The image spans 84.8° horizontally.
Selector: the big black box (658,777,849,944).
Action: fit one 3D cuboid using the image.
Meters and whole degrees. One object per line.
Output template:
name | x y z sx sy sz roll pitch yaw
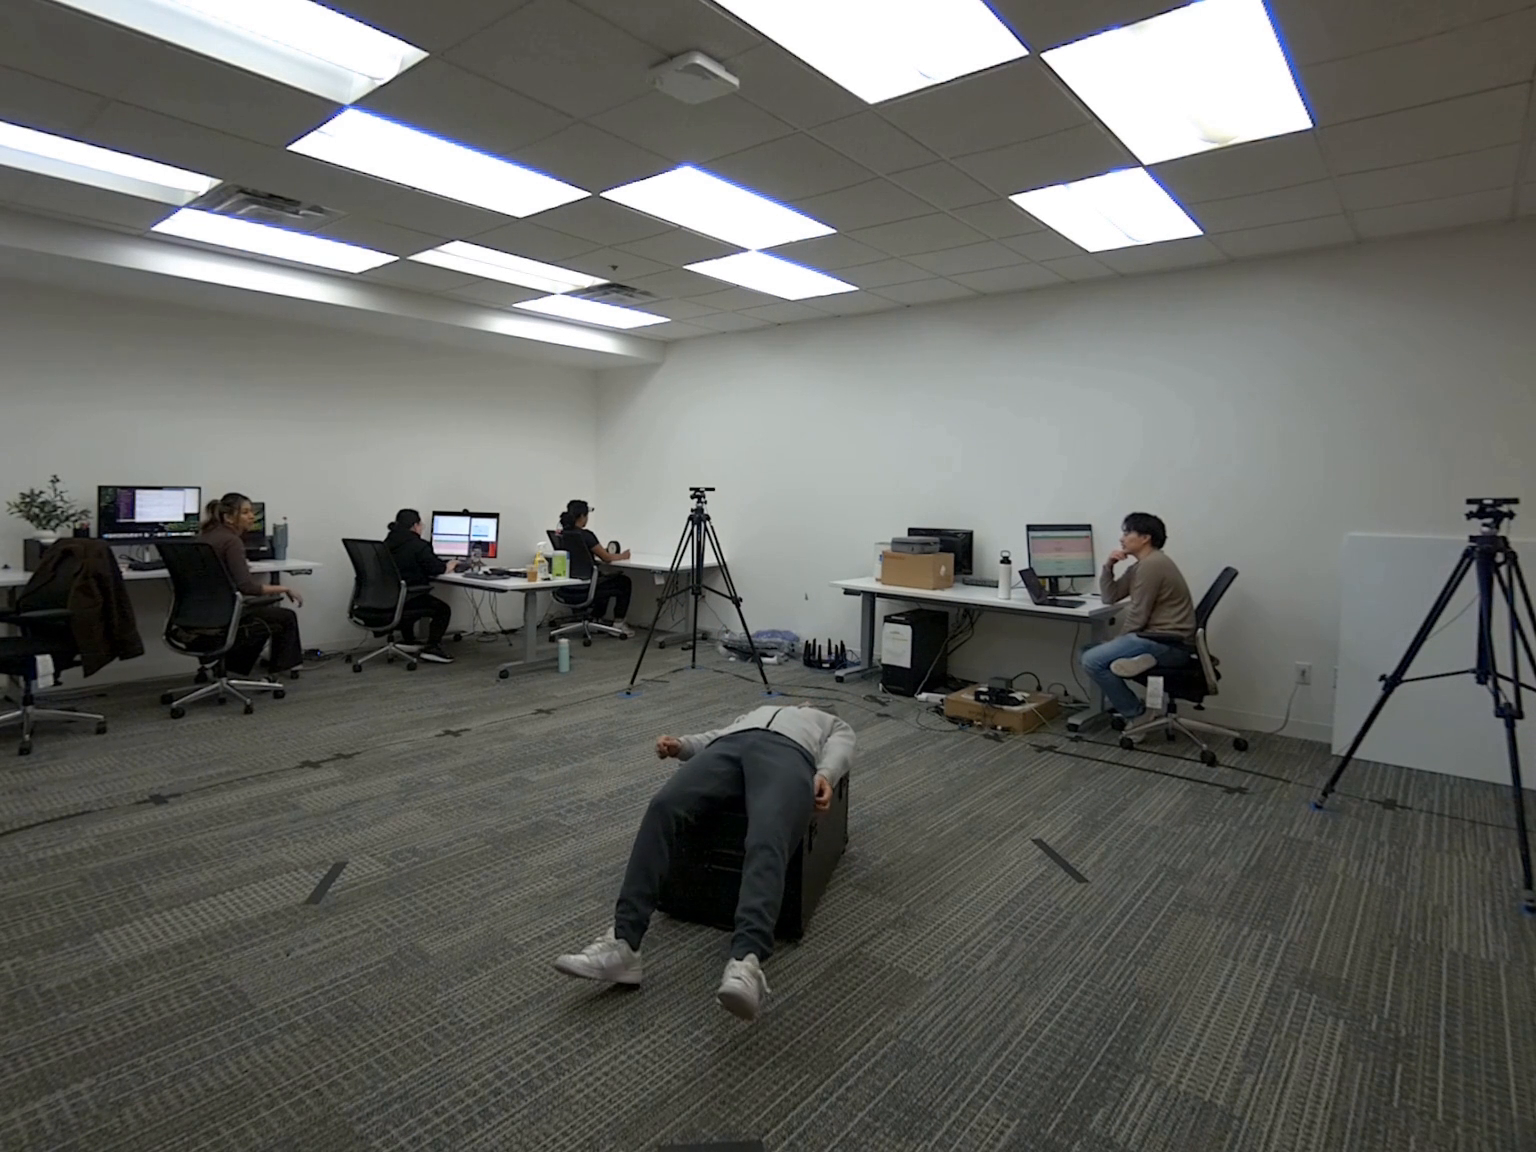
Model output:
big black box | -0.043 0.898 2.991 0.532 0.395 0.847 3 5 18
